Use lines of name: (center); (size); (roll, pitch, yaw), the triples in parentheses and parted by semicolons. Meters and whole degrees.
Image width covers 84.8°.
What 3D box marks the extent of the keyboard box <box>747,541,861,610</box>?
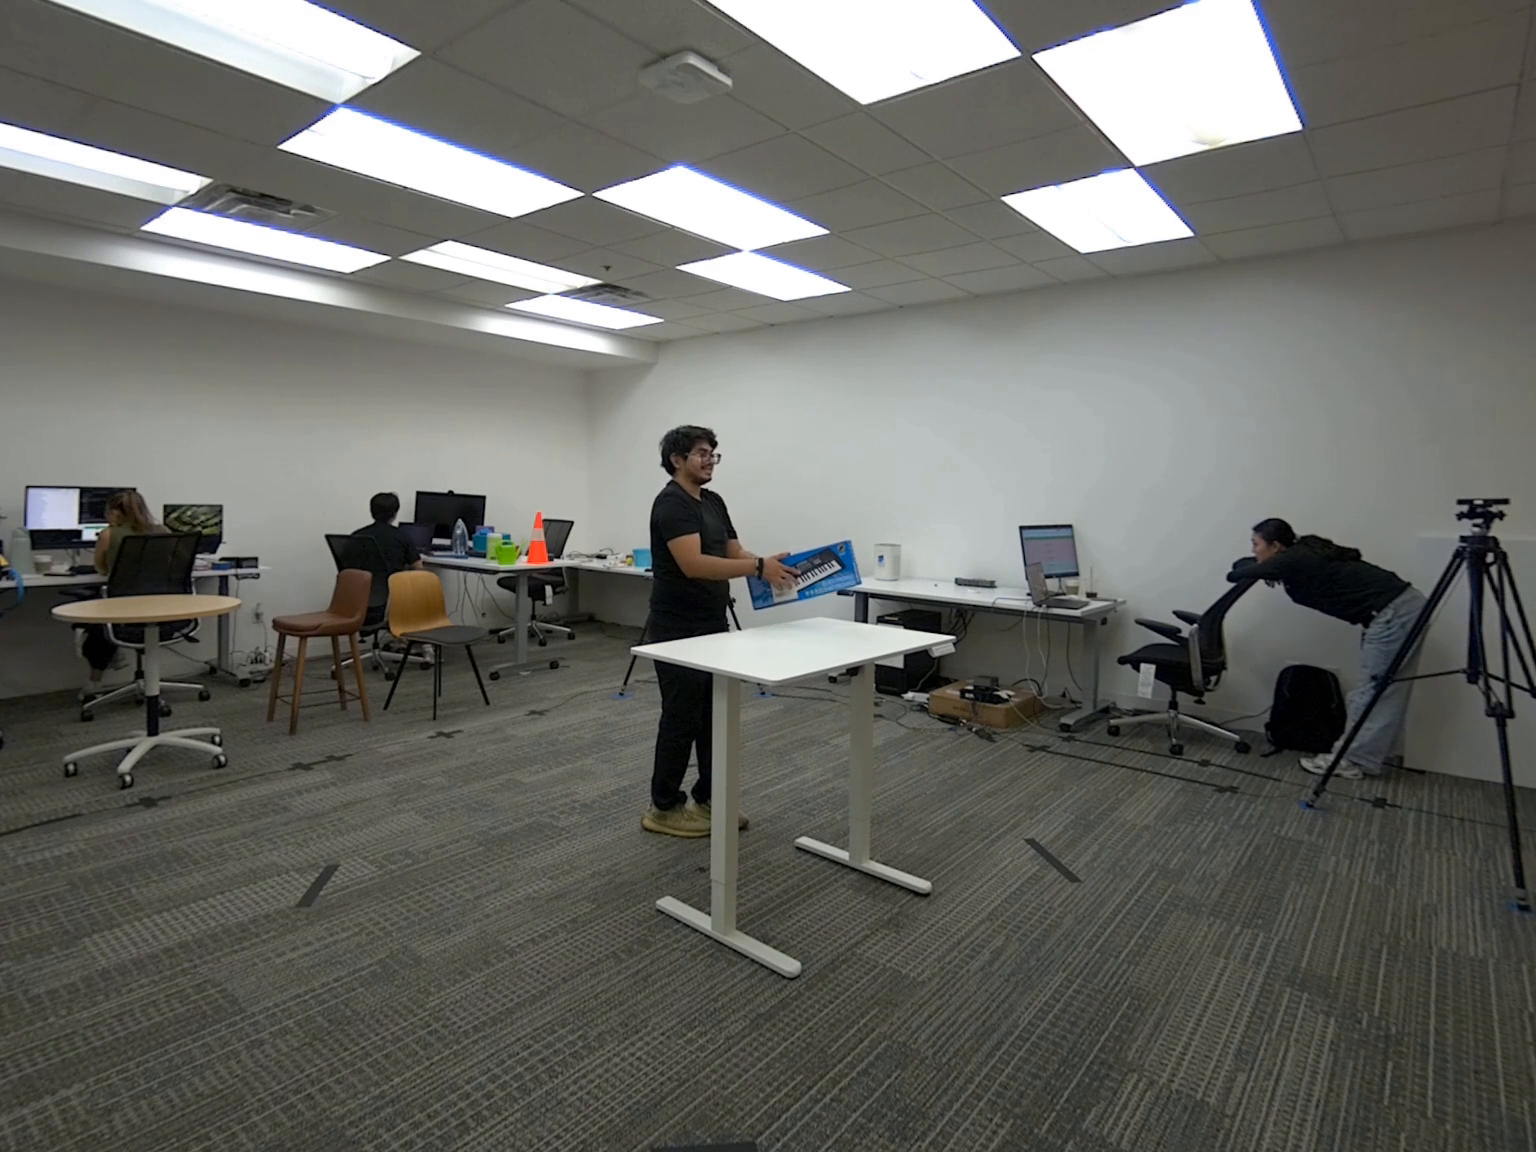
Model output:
keyboard box: (0.119, -0.002, 3.272); (0.444, 0.177, 0.057); (-15, -7, 24)
